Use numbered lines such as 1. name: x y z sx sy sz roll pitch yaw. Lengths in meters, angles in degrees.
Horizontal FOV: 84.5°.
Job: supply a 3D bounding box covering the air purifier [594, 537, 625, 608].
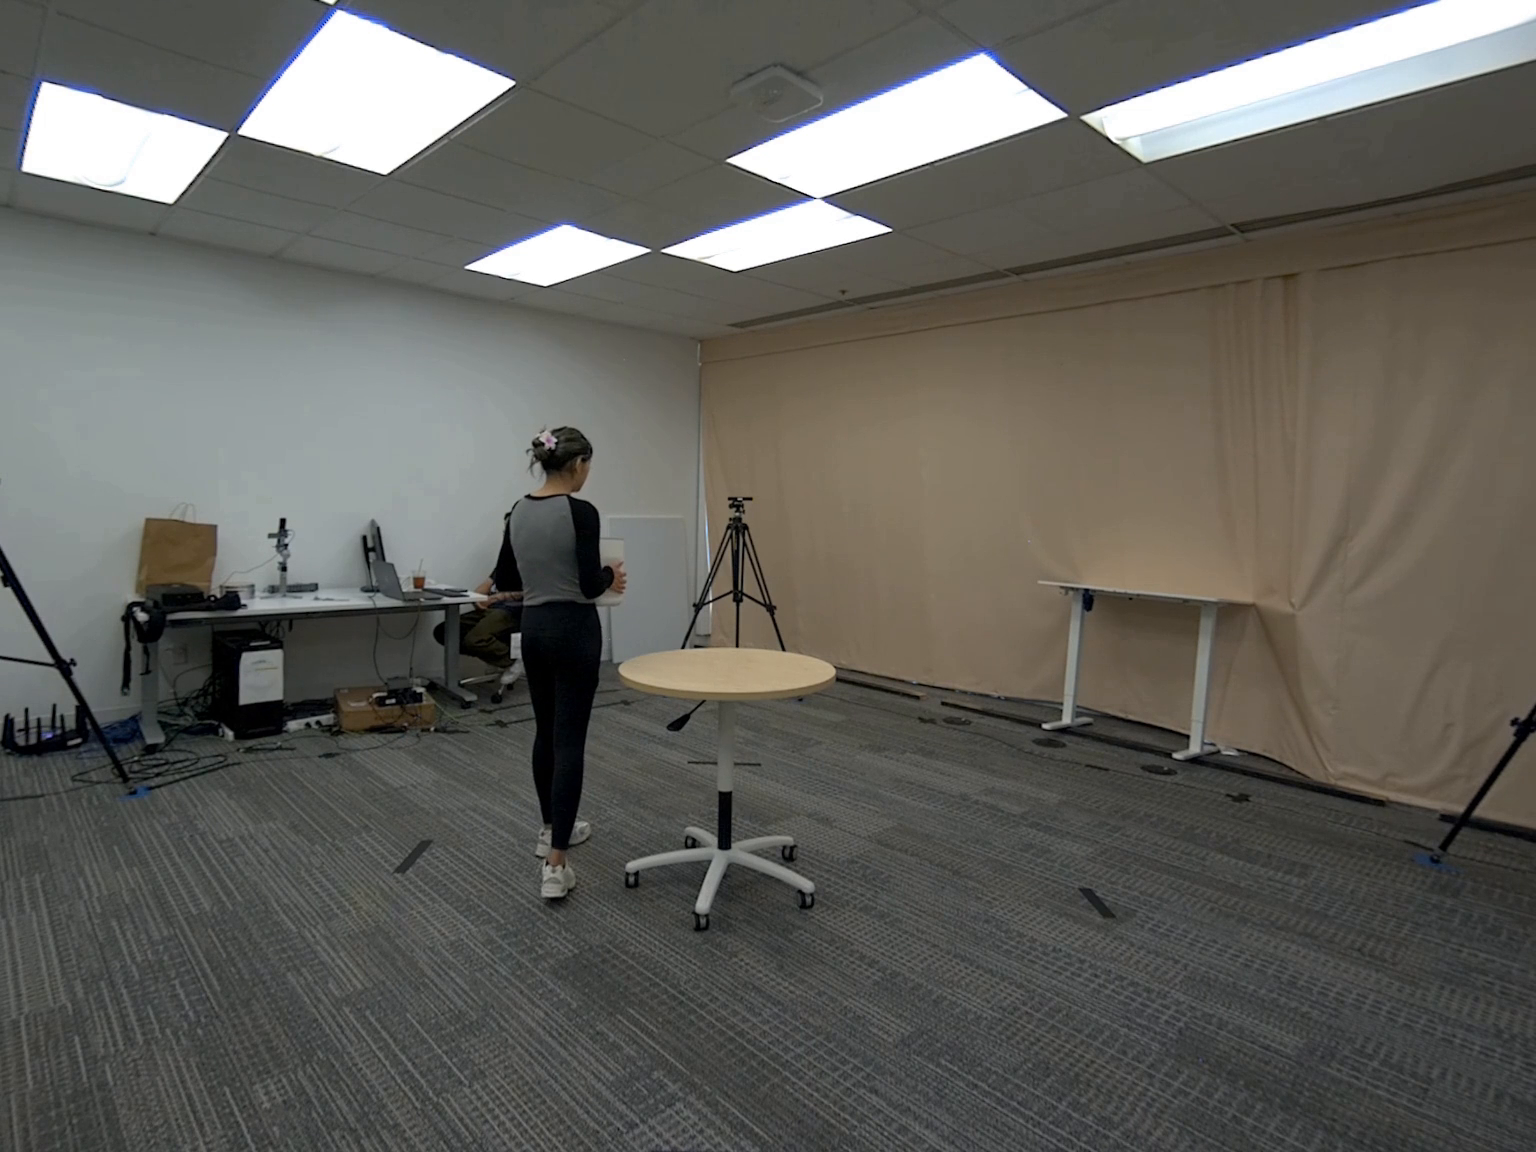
1. air purifier: -0.664 -0.015 3.308 0.175 0.266 0.167 -1 -2 38
